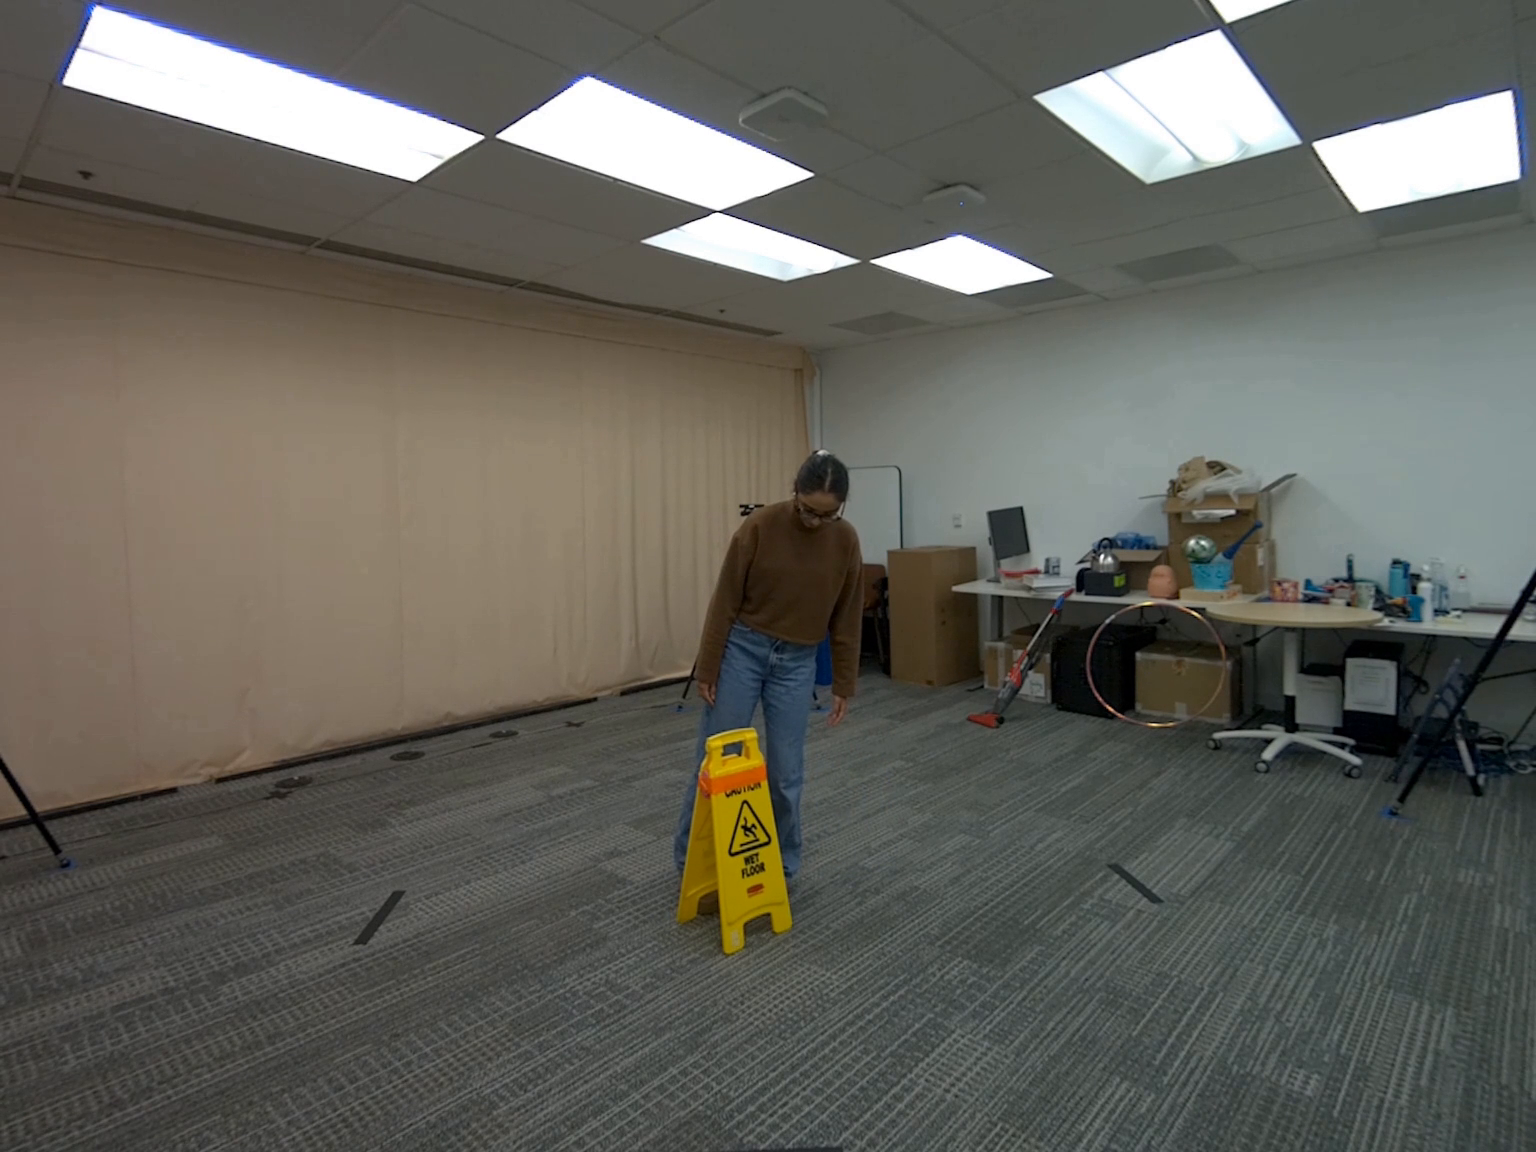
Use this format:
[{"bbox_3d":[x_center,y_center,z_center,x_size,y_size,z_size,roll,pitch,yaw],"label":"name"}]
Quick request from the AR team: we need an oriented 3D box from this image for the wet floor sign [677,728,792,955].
[{"bbox_3d":[-0.114,0.833,2.775,0.274,0.645,0.299,-3,4,-41],"label":"wet floor sign"}]
